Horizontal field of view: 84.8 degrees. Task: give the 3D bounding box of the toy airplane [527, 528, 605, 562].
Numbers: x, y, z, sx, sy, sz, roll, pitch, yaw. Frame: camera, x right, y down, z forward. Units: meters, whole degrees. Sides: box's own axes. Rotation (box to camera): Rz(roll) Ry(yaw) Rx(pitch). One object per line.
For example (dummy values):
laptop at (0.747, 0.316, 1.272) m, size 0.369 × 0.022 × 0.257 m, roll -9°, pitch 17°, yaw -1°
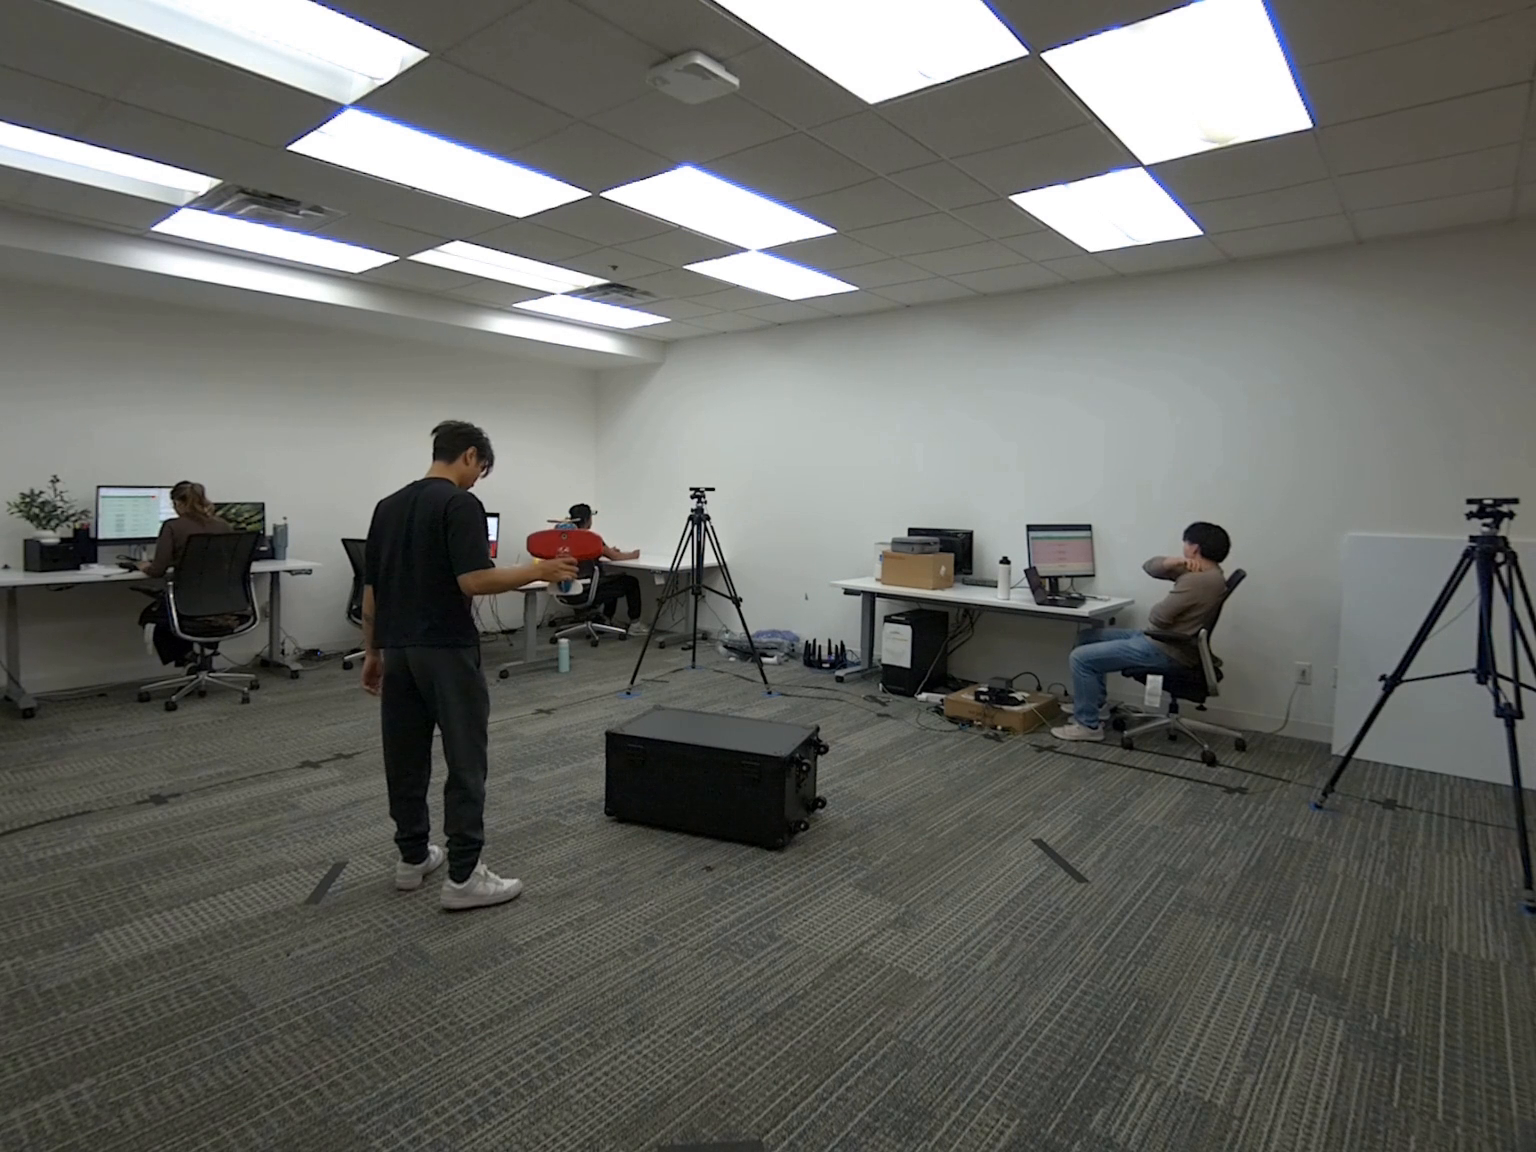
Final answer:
toy airplane at (-0.697, -0.068, 2.952) m, size 0.249 × 0.266 × 0.154 m, roll -26°, pitch -19°, yaw -16°
